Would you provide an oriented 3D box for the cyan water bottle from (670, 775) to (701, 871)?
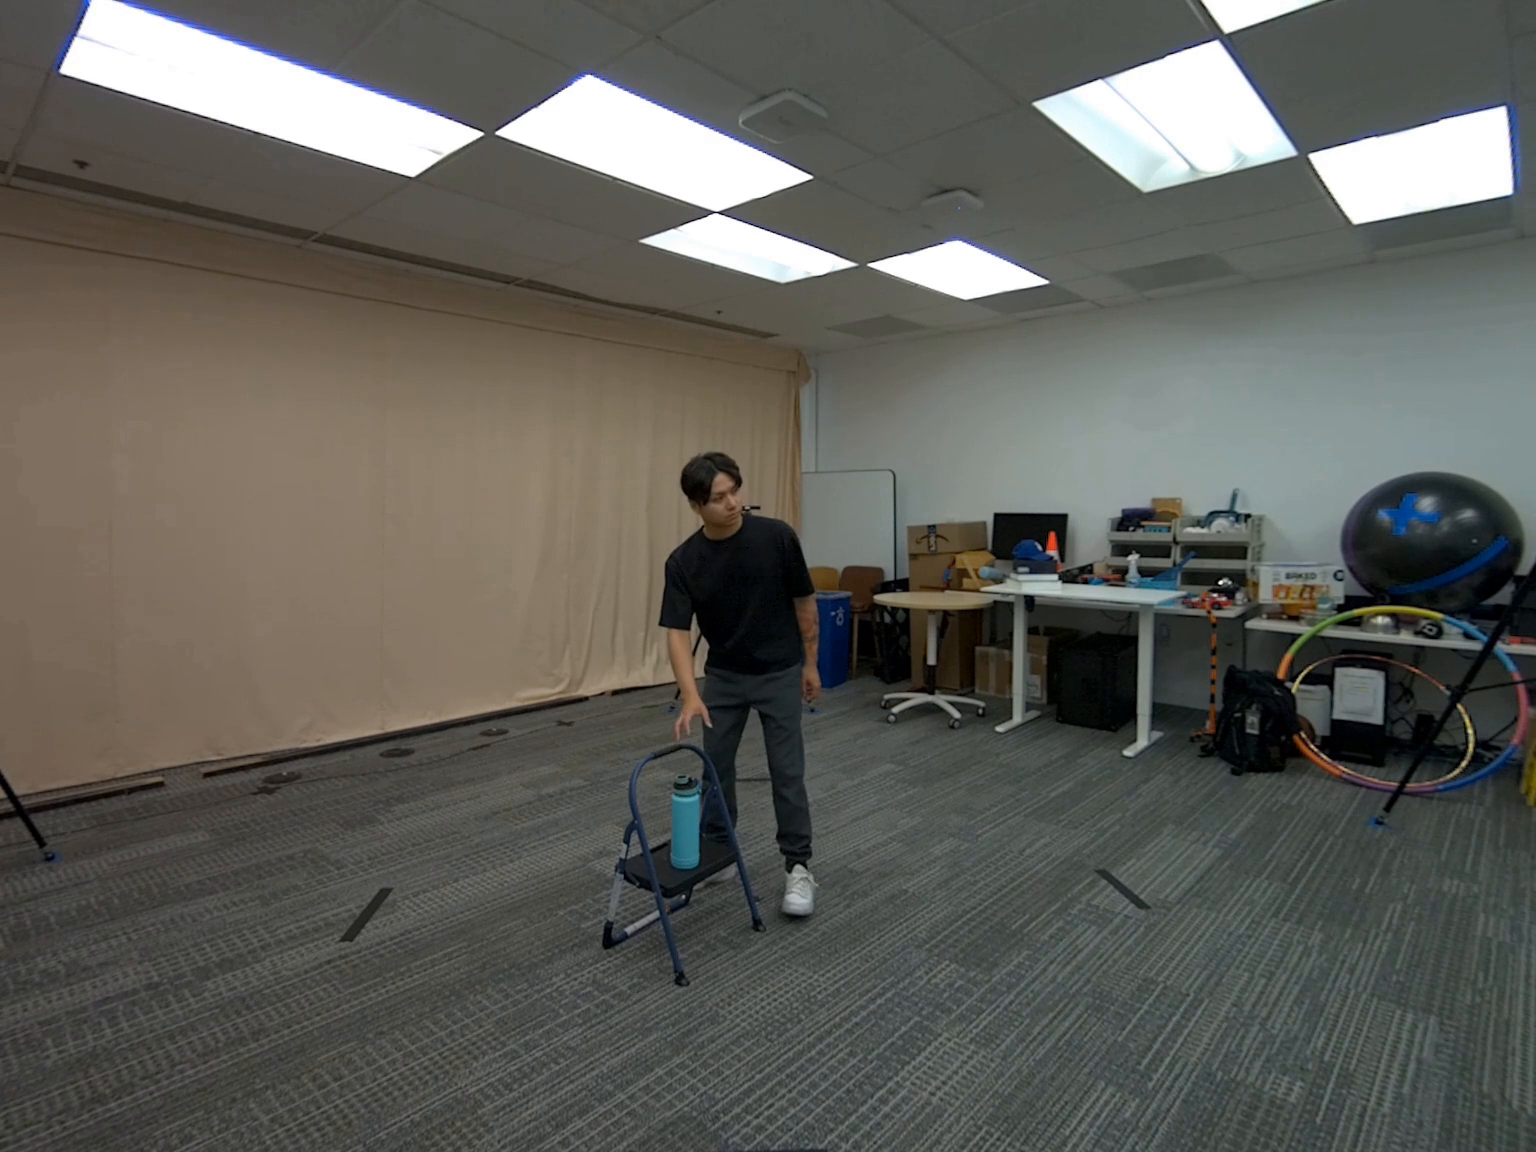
[{"bbox_3d":[-0.262,0.770,2.662,0.092,0.283,0.093,0,4,-2],"label":"cyan water bottle"}]
